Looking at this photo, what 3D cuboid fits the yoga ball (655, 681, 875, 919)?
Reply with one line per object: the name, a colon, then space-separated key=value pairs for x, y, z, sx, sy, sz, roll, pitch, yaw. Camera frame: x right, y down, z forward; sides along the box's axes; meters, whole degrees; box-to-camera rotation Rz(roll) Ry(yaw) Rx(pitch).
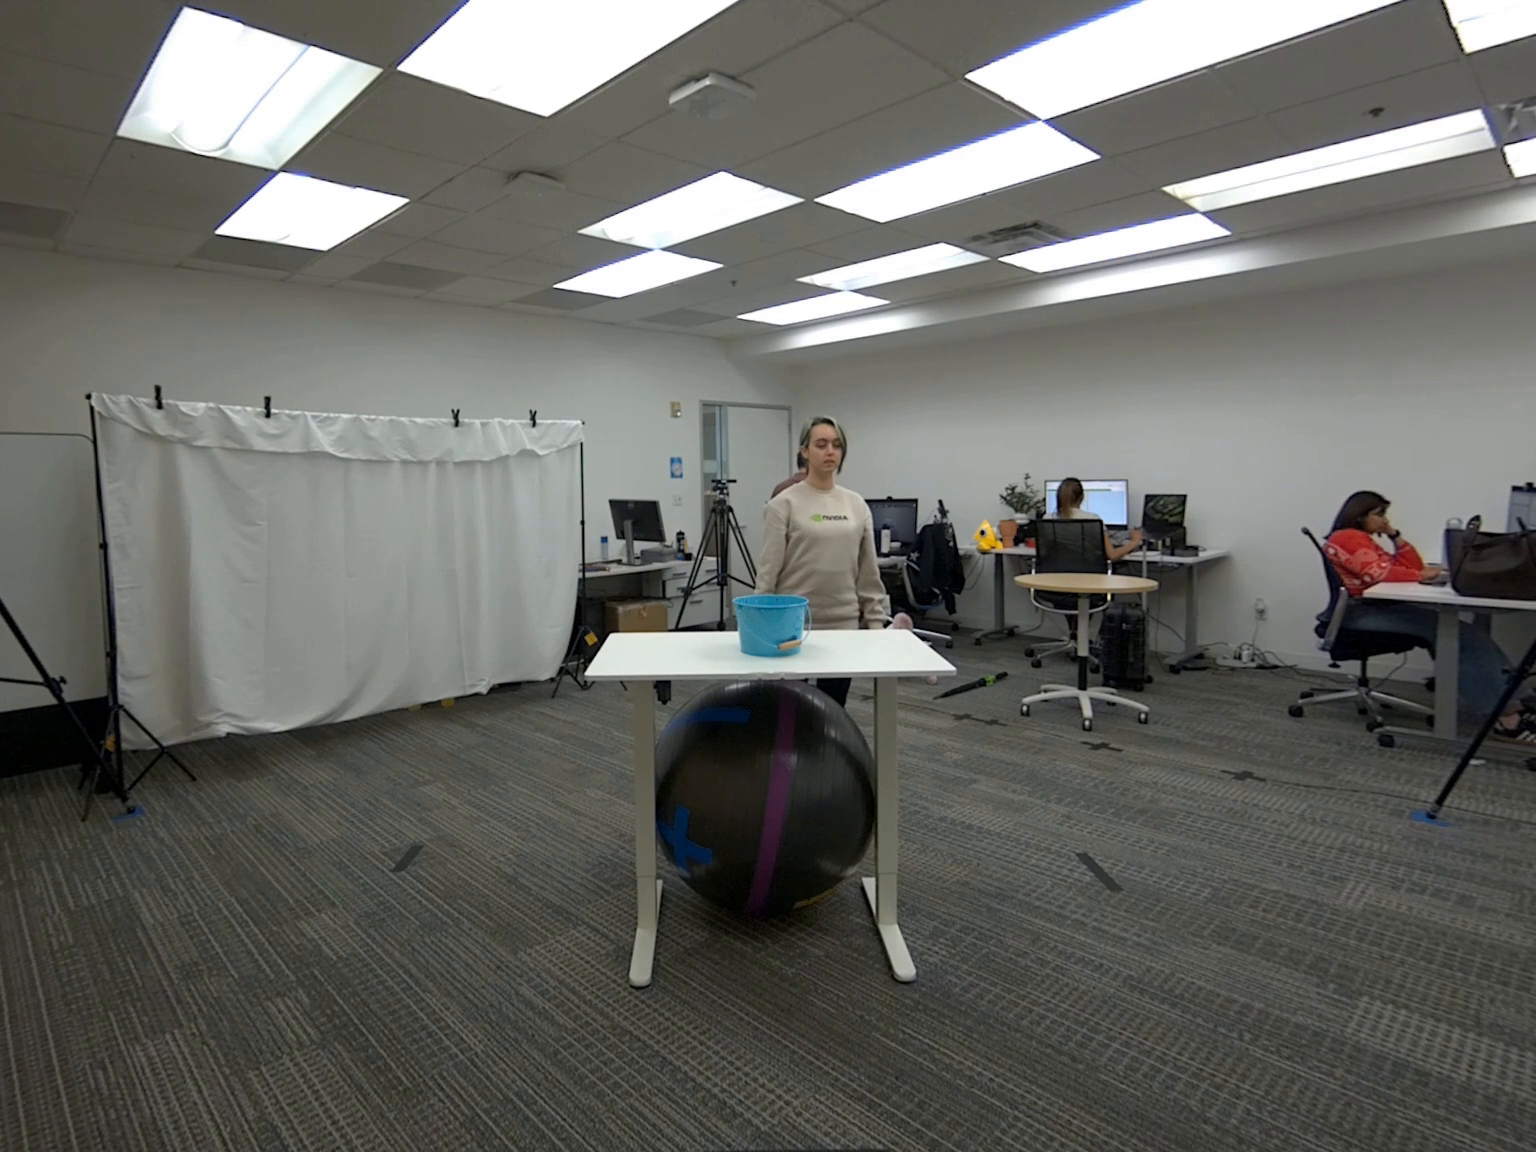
yoga ball: x=-0.017 y=0.709 z=2.813 sx=0.757 sy=0.755 sz=0.762 roll=-1 pitch=5 yaw=-2
